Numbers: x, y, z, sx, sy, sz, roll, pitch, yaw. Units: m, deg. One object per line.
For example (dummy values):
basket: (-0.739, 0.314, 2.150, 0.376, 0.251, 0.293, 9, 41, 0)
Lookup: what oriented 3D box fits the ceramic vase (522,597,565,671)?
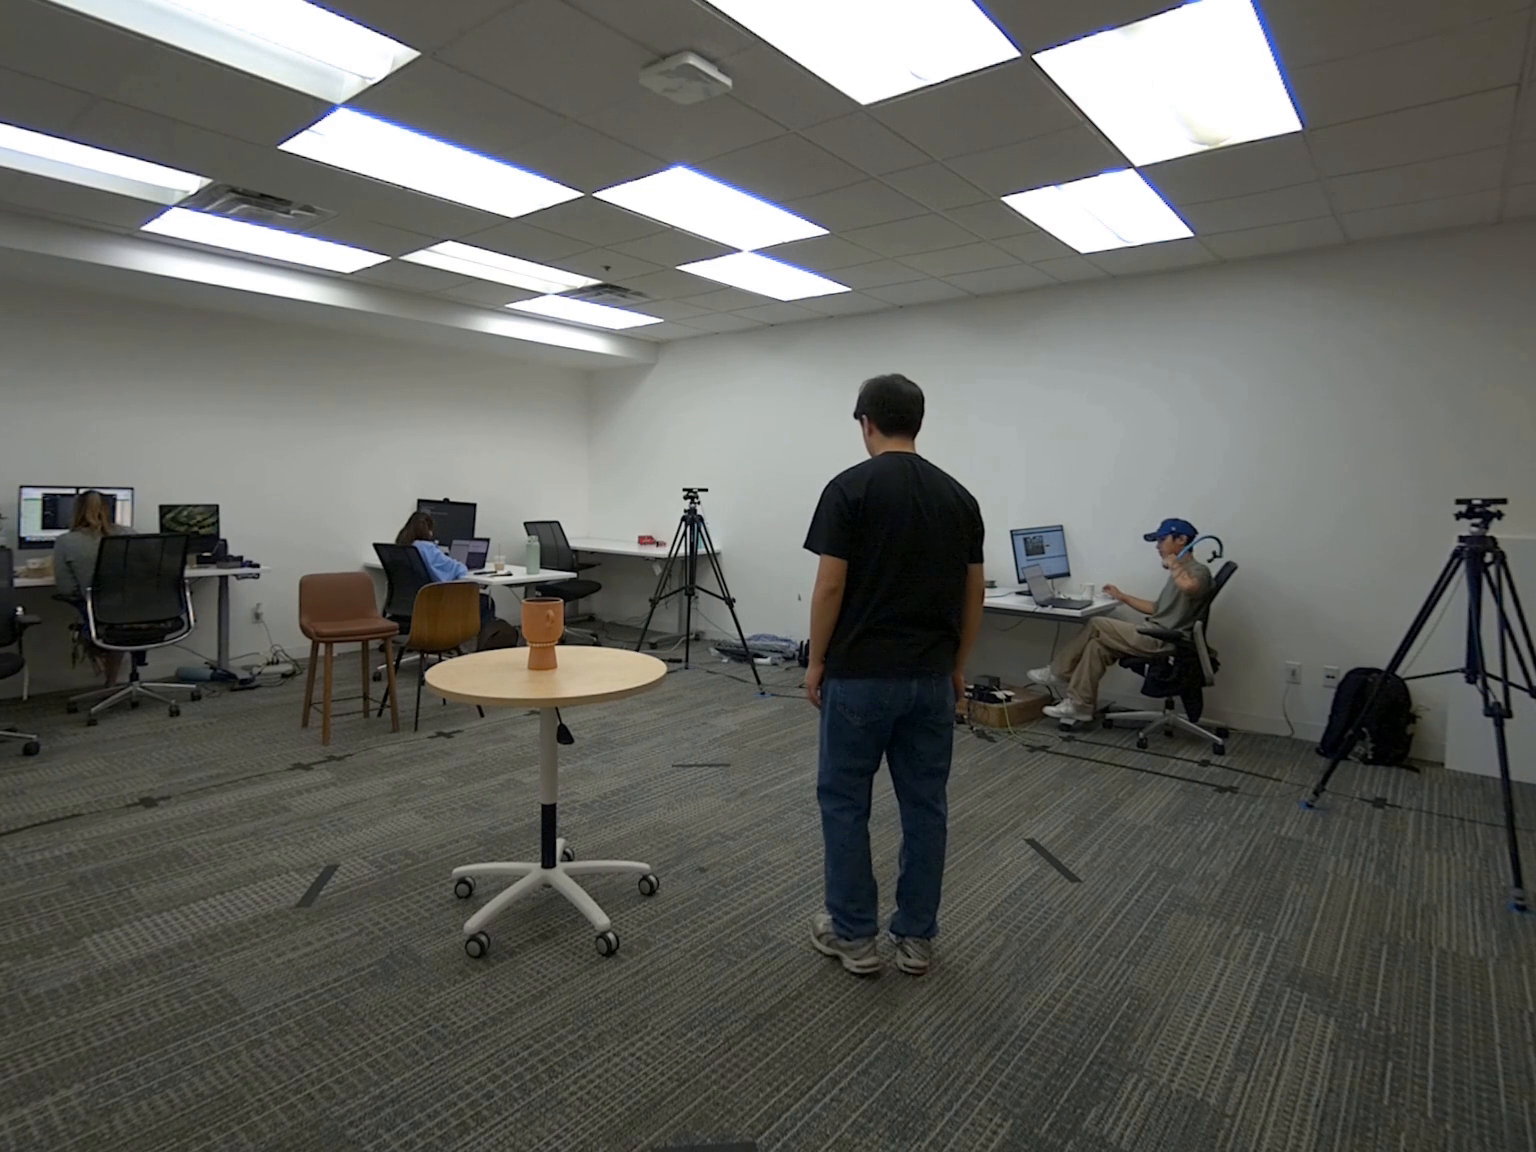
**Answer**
ceramic vase: (-0.753, 0.190, 2.771, 0.136, 0.219, 0.158, 1, 5, 6)
